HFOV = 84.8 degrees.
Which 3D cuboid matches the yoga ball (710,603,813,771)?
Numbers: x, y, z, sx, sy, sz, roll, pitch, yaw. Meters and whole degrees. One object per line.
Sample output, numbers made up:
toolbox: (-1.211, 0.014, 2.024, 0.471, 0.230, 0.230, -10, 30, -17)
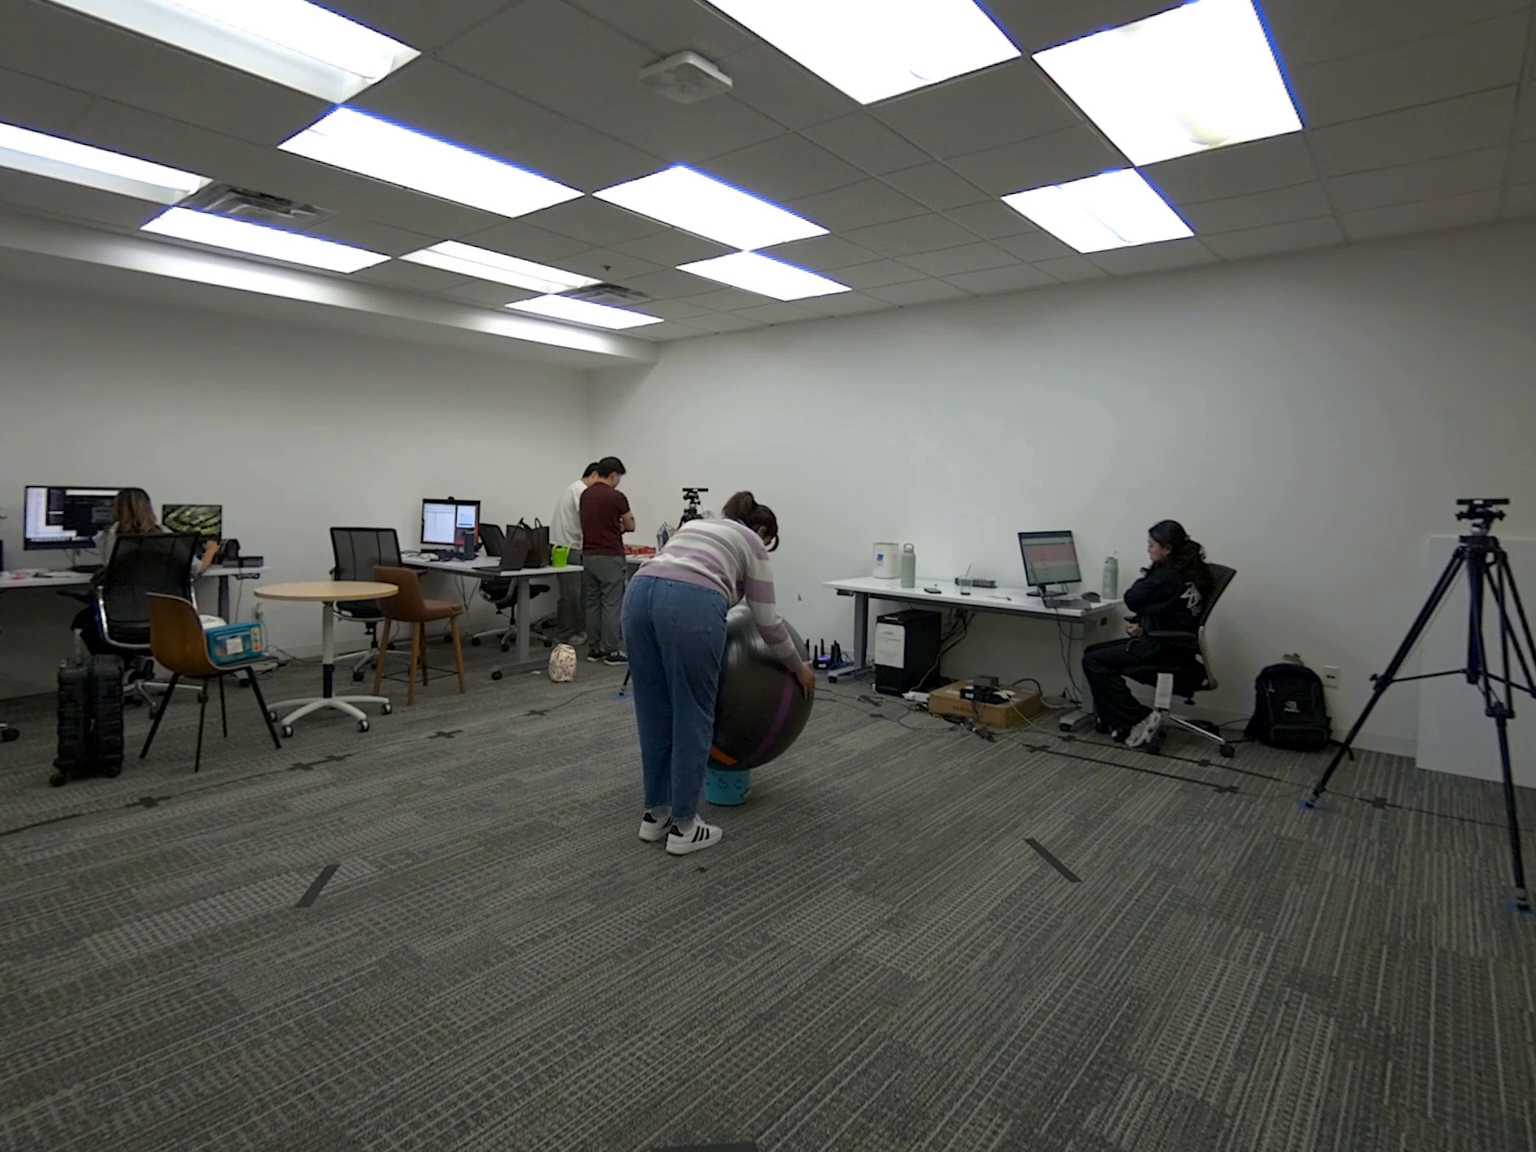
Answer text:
yoga ball: (-0.169, 0.486, 3.847, 0.757, 0.756, 0.761, 1, 4, -2)
